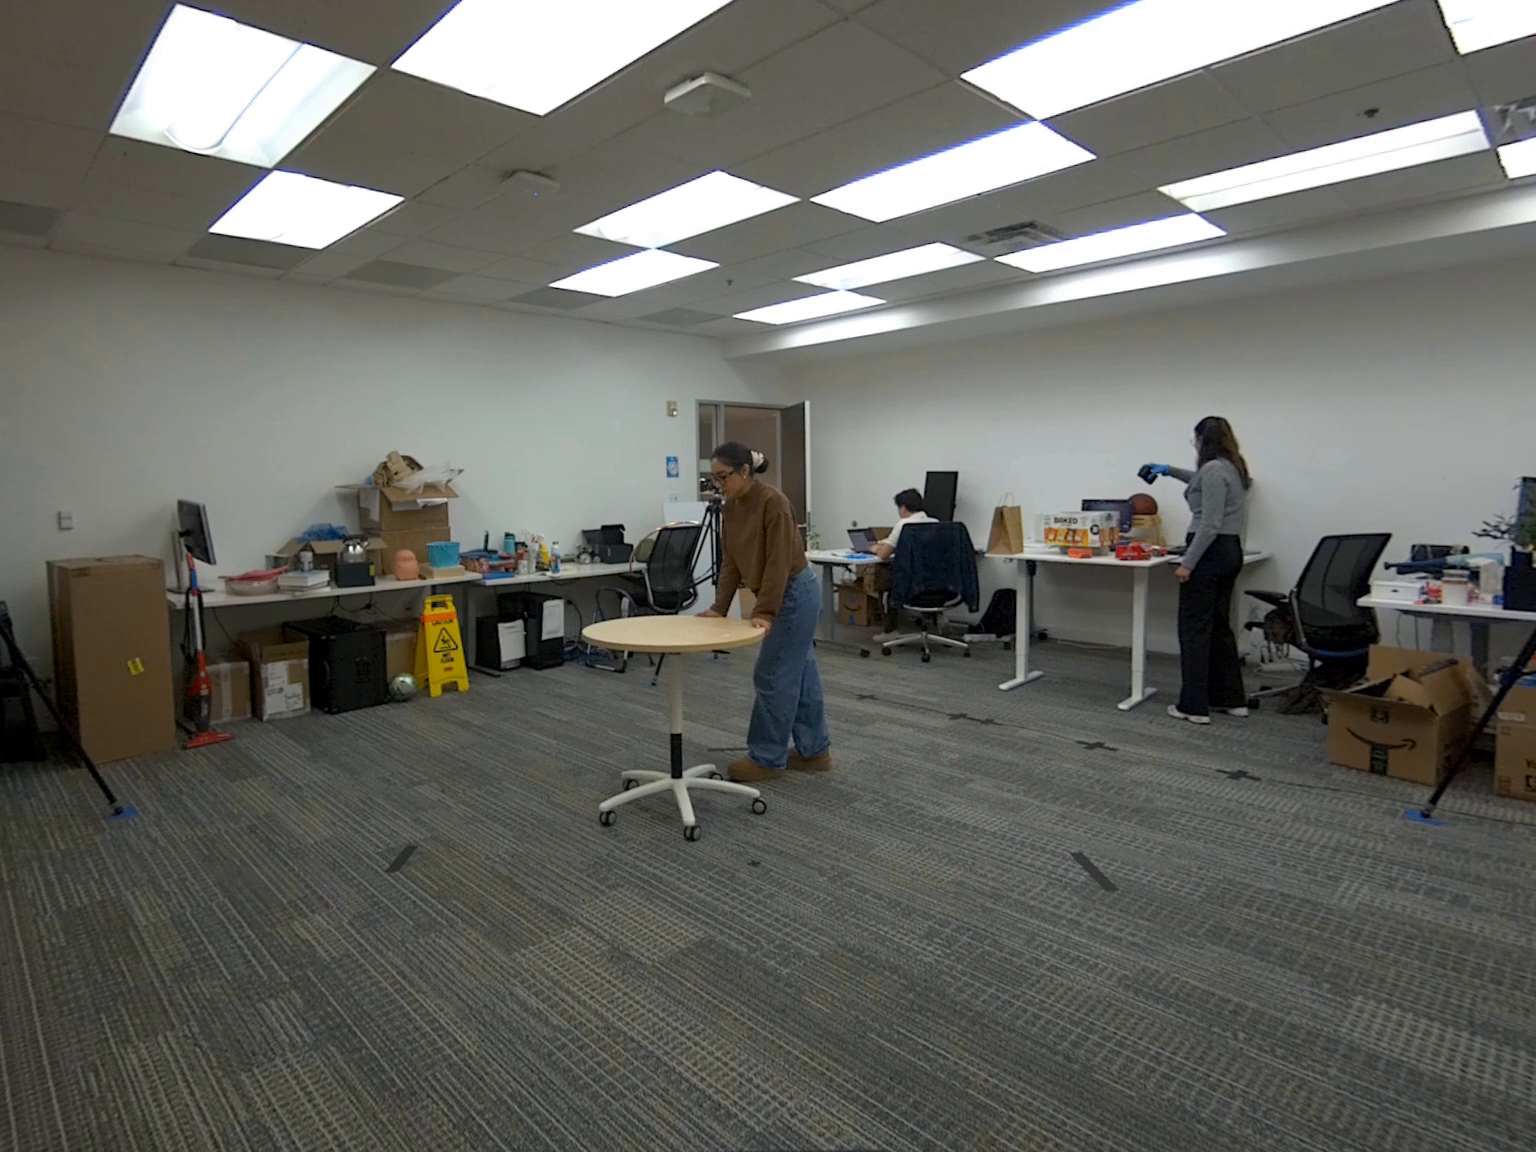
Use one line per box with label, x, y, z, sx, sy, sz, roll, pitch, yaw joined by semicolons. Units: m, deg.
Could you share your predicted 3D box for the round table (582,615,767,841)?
round table;-0.387;0.612;3.610;0.763;0.791;0.767;-1;4;-2
